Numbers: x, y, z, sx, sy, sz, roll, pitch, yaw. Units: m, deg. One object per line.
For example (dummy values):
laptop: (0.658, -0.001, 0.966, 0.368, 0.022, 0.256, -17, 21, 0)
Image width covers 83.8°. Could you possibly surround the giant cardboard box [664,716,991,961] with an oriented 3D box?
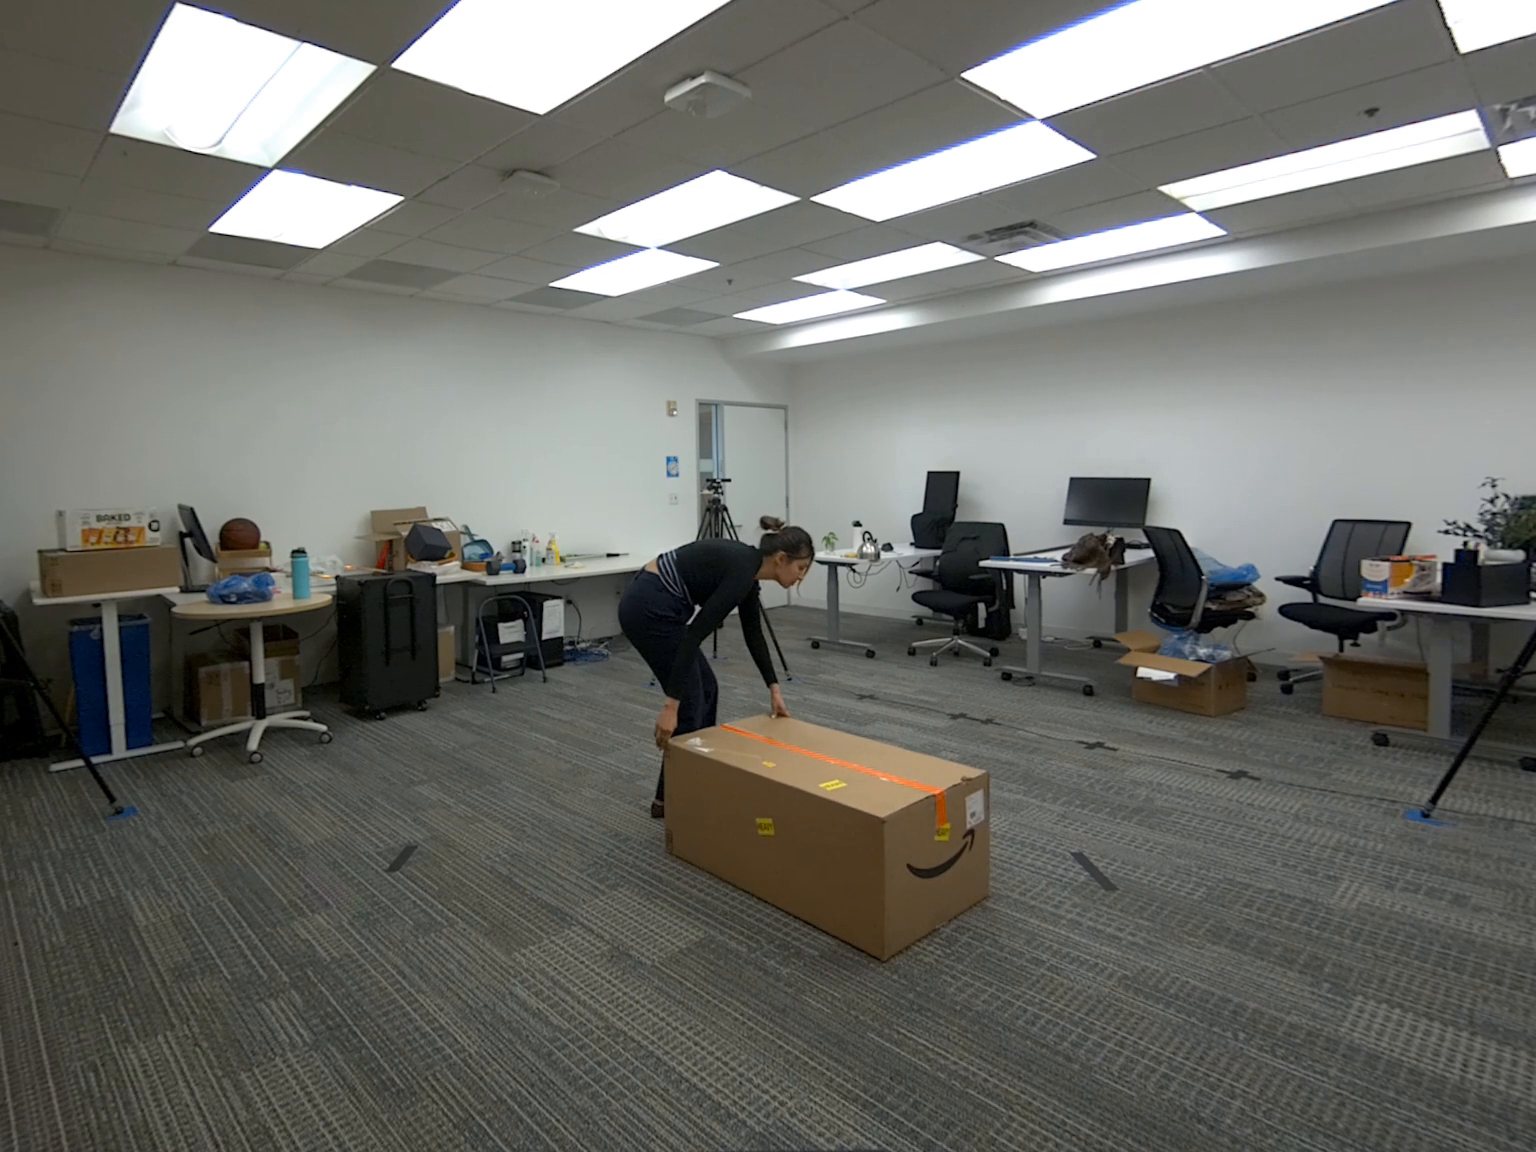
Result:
giant cardboard box: (0.176, 0.838, 3.005, 0.562, 0.424, 1.058, -6, 8, -43)
